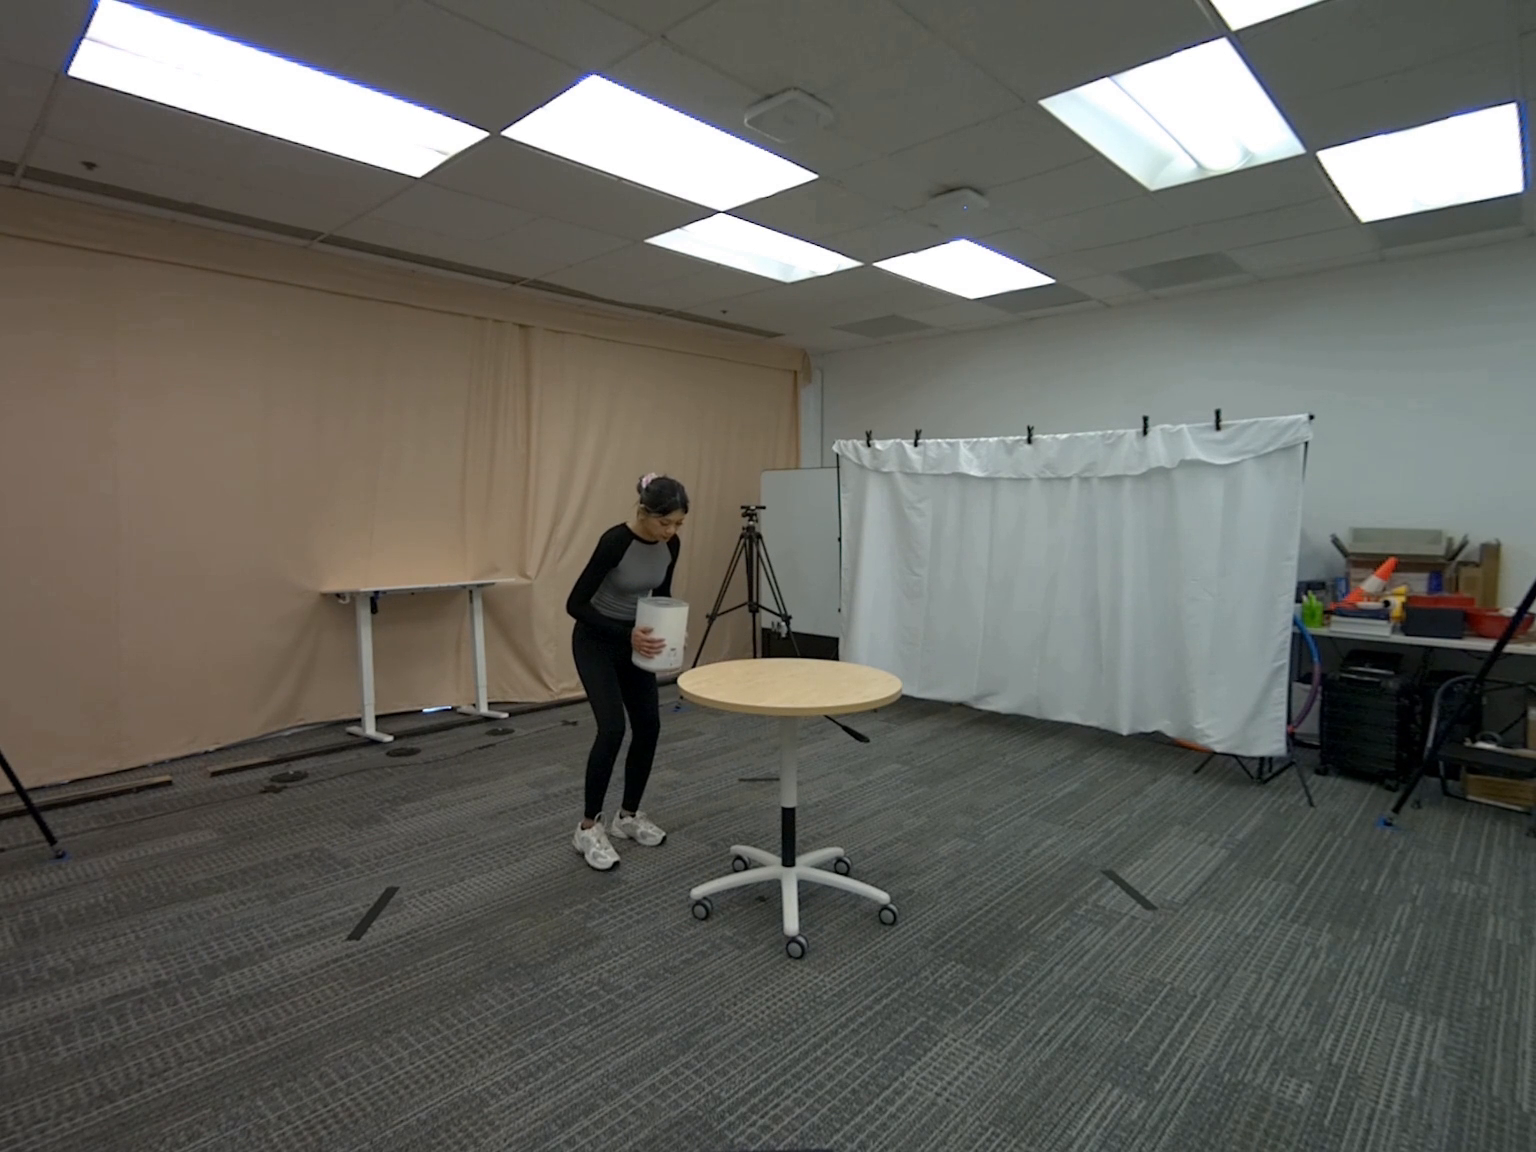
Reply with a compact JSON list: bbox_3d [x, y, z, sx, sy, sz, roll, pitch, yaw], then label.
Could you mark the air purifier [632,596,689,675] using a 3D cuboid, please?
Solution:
[{"bbox_3d":[-0.422,0.235,3.276,0.178,0.264,0.165,13,8,44],"label":"air purifier"}]
